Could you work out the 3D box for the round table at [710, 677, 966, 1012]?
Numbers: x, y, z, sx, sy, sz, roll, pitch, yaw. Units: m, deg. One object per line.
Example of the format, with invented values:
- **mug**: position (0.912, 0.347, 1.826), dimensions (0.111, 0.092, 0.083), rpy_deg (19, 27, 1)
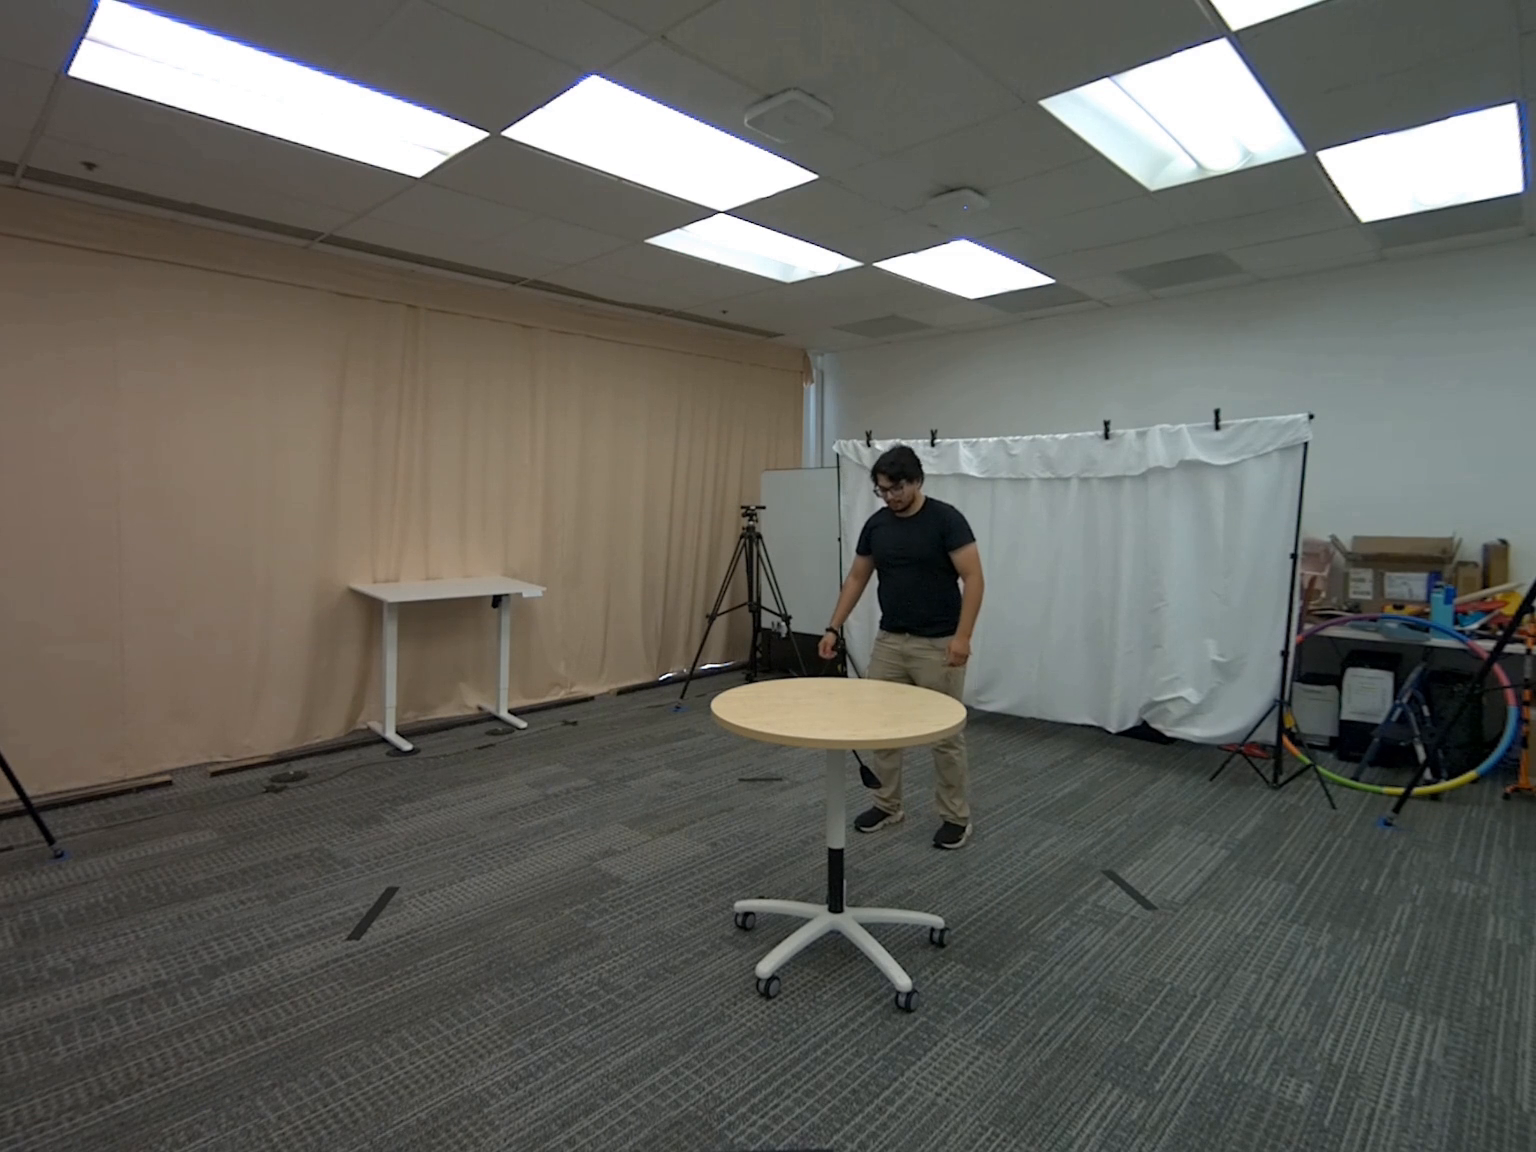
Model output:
- **round table**: position (0.218, 0.780, 2.604), dimensions (0.784, 0.784, 0.788), rpy_deg (0, 4, -2)
